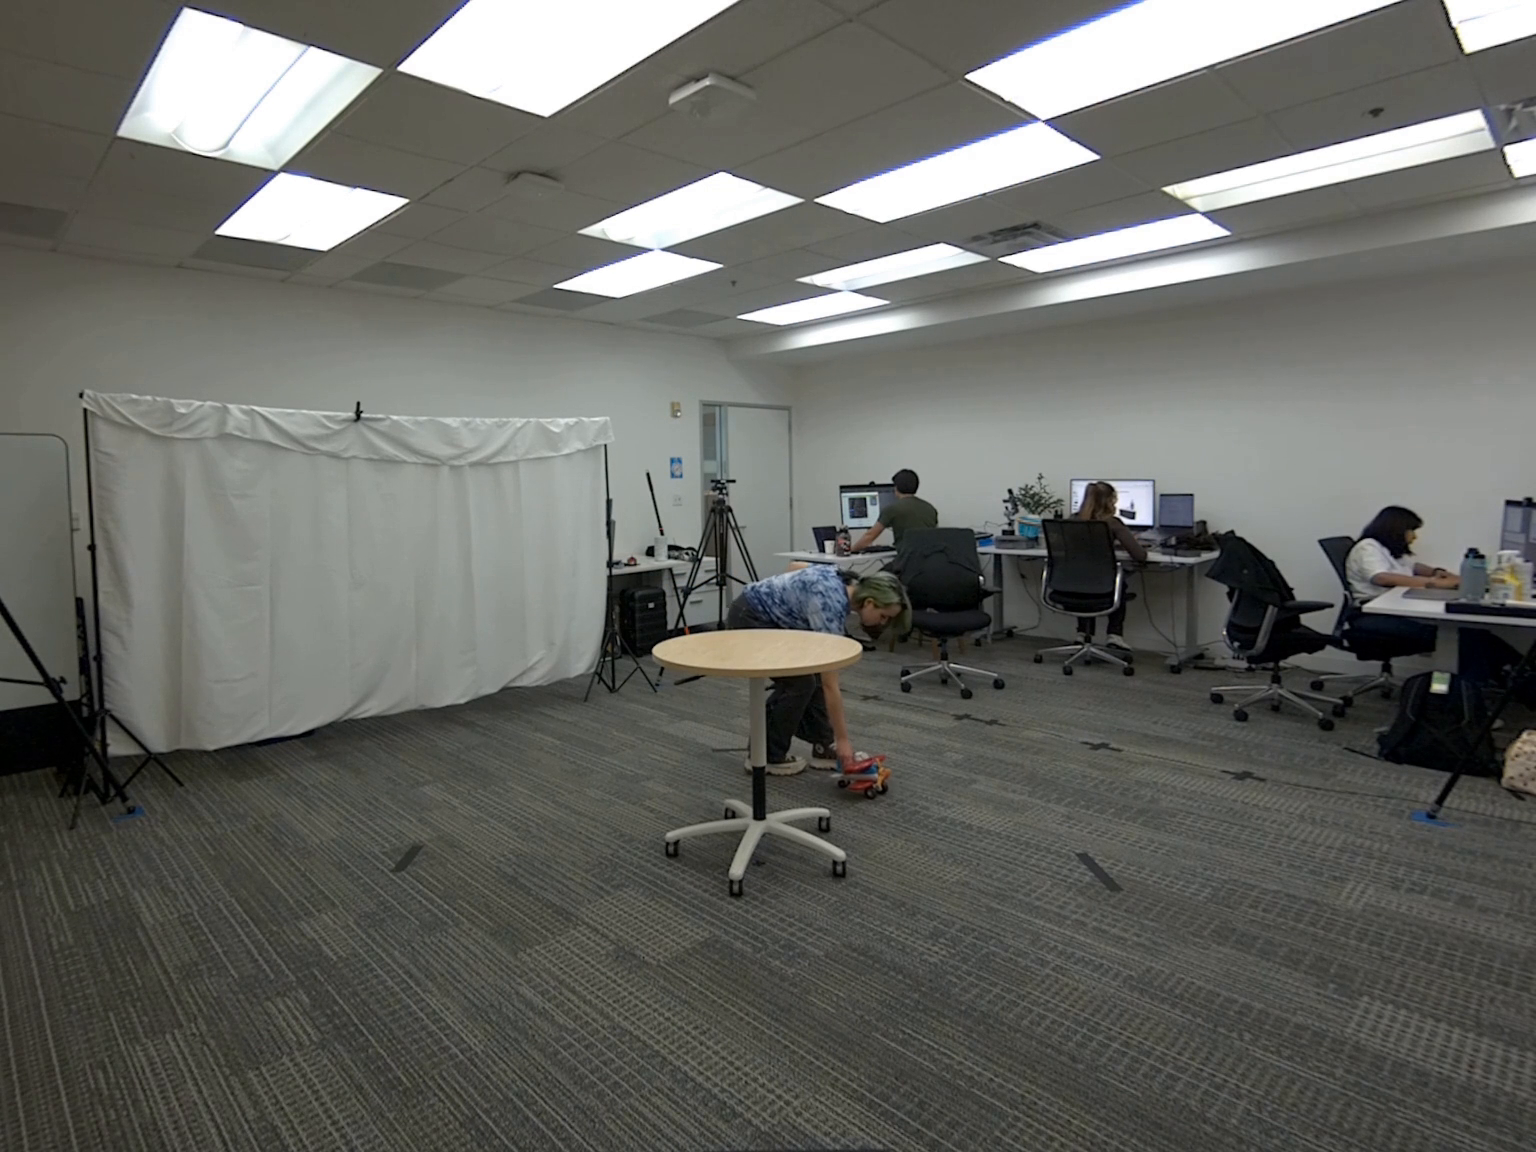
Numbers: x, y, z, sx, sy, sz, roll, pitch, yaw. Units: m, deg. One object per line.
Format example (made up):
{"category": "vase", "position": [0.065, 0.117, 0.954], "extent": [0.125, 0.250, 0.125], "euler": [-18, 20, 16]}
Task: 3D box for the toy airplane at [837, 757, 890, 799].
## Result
{"category": "toy airplane", "position": [0.403, 0.891, 3.795], "extent": [0.263, 0.156, 0.248], "euler": [1, 5, 13]}
